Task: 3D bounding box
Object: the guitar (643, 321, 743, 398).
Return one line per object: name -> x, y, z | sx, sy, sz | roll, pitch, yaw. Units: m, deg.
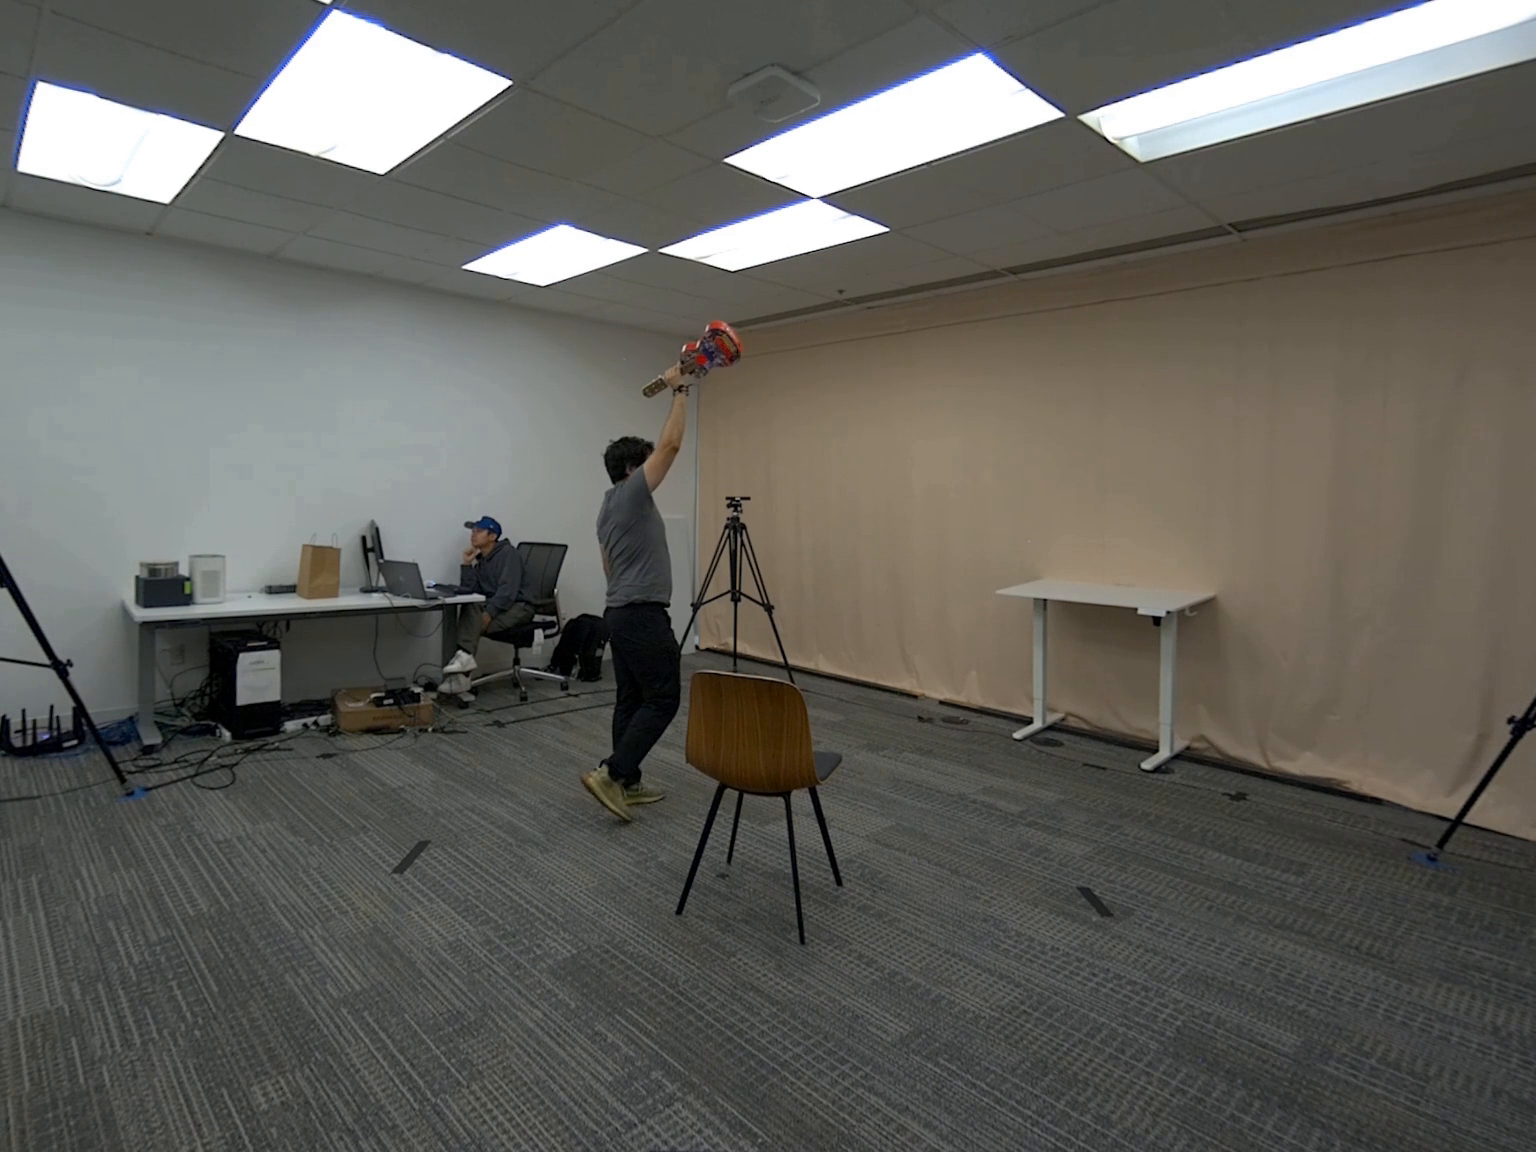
guitar -> -0.367, -0.941, 3.661 | 0.503, 0.188, 0.072 | -17, 35, 22
